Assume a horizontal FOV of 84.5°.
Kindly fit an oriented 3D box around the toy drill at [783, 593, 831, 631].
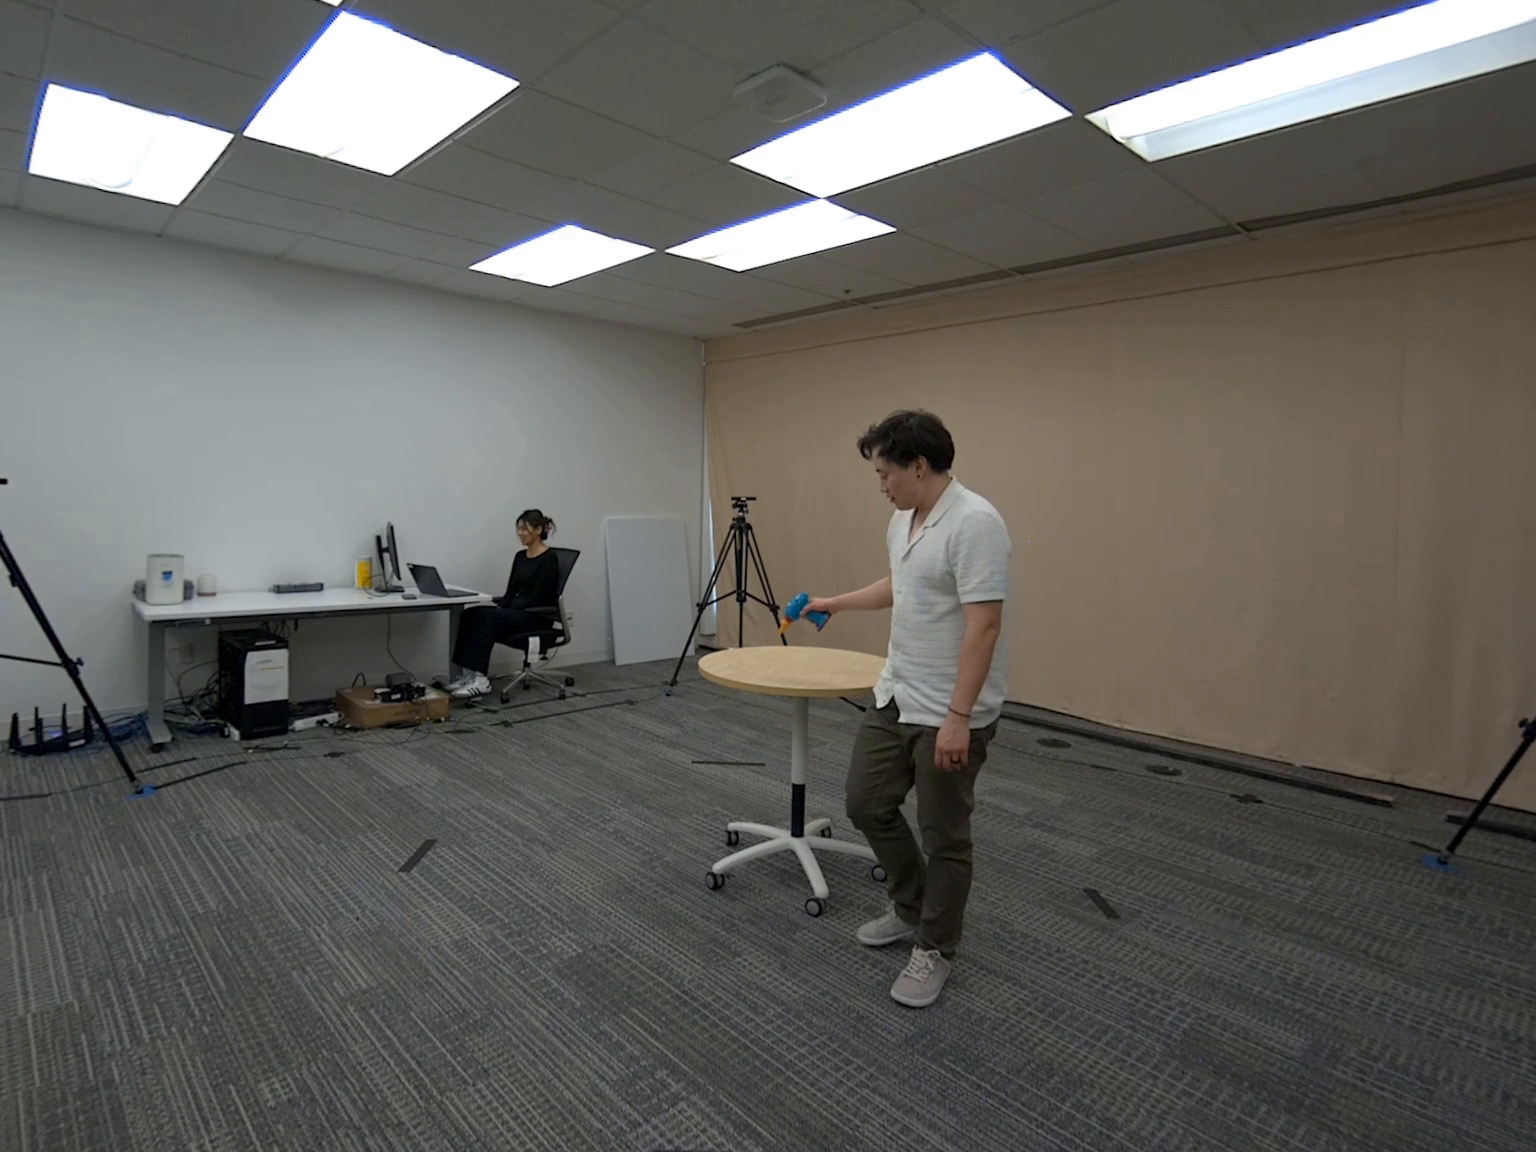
[{"bbox_3d":[0.105,0.151,2.875,0.148,0.170,0.060,35,4,10],"label":"toy drill"}]
